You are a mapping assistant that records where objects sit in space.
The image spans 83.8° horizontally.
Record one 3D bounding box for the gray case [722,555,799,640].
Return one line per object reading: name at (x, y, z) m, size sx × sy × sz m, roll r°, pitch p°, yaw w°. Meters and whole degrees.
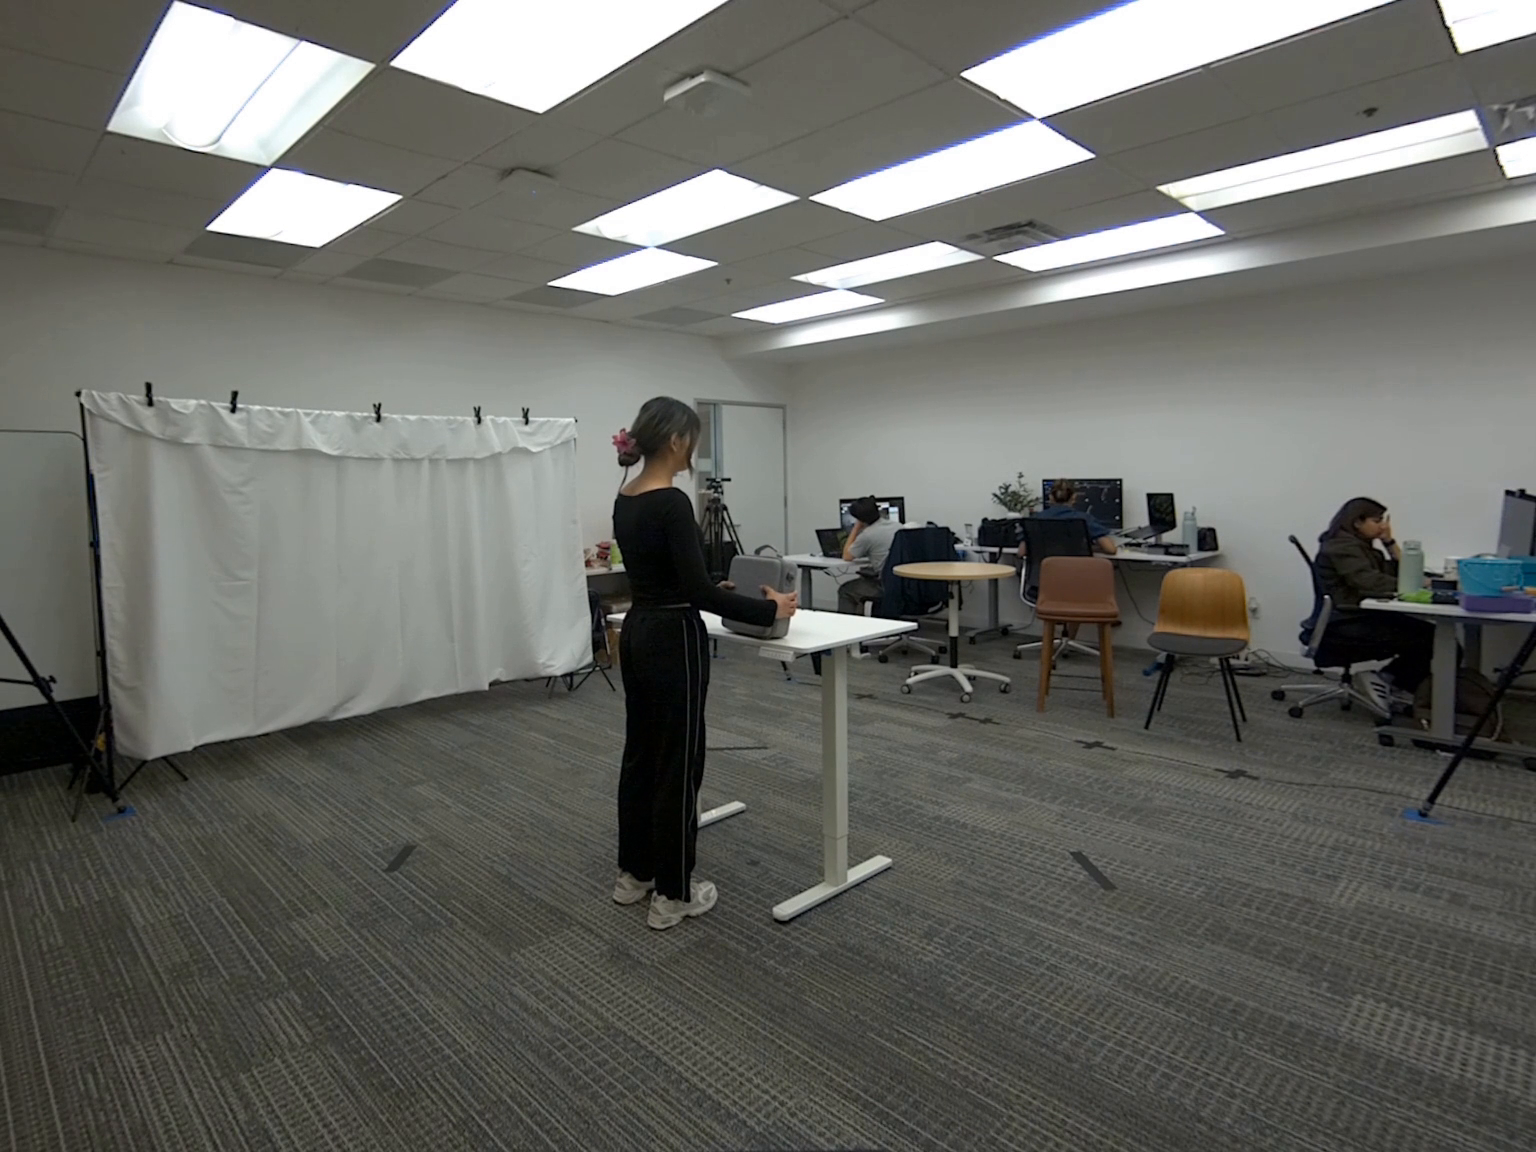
gray case at (-0.025, 0.063, 2.789) m, size 0.101 × 0.261 × 0.265 m, roll 12°, pitch -4°, yaw -38°
